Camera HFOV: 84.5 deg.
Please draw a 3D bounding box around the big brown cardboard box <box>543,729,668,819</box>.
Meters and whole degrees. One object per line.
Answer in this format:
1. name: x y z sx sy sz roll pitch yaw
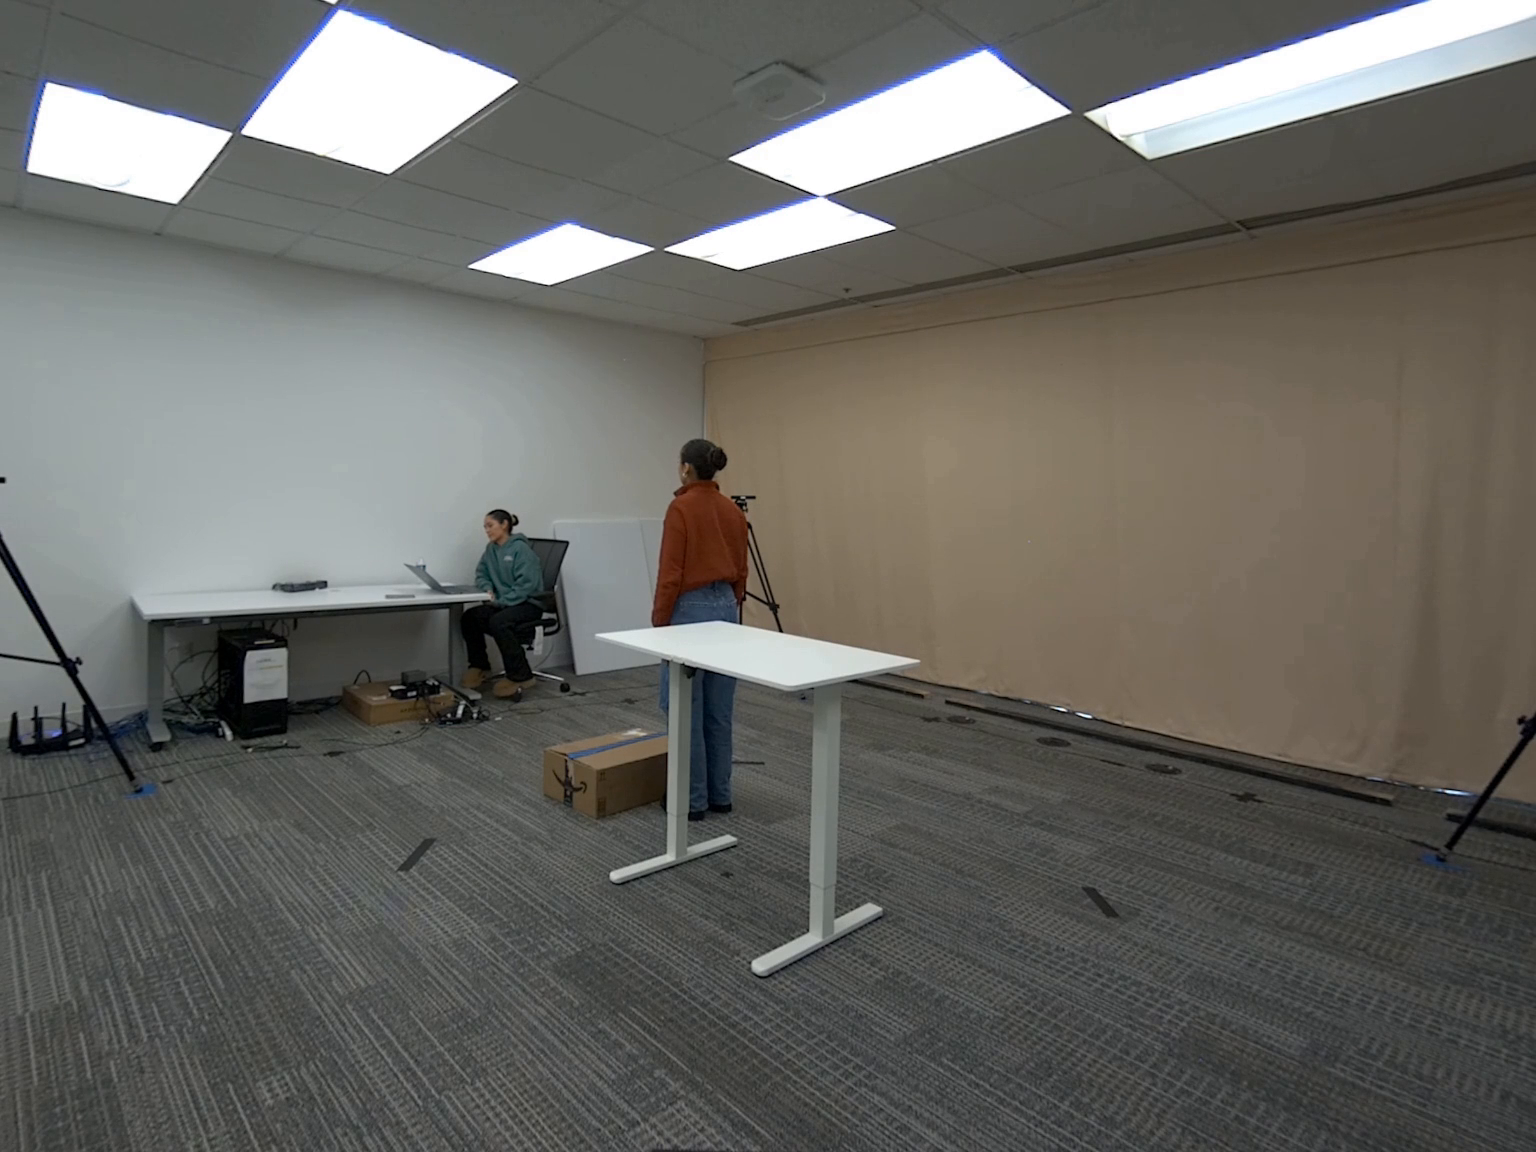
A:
1. big brown cardboard box: -0.702 0.902 3.945 0.428 0.232 0.576 5 7 42
